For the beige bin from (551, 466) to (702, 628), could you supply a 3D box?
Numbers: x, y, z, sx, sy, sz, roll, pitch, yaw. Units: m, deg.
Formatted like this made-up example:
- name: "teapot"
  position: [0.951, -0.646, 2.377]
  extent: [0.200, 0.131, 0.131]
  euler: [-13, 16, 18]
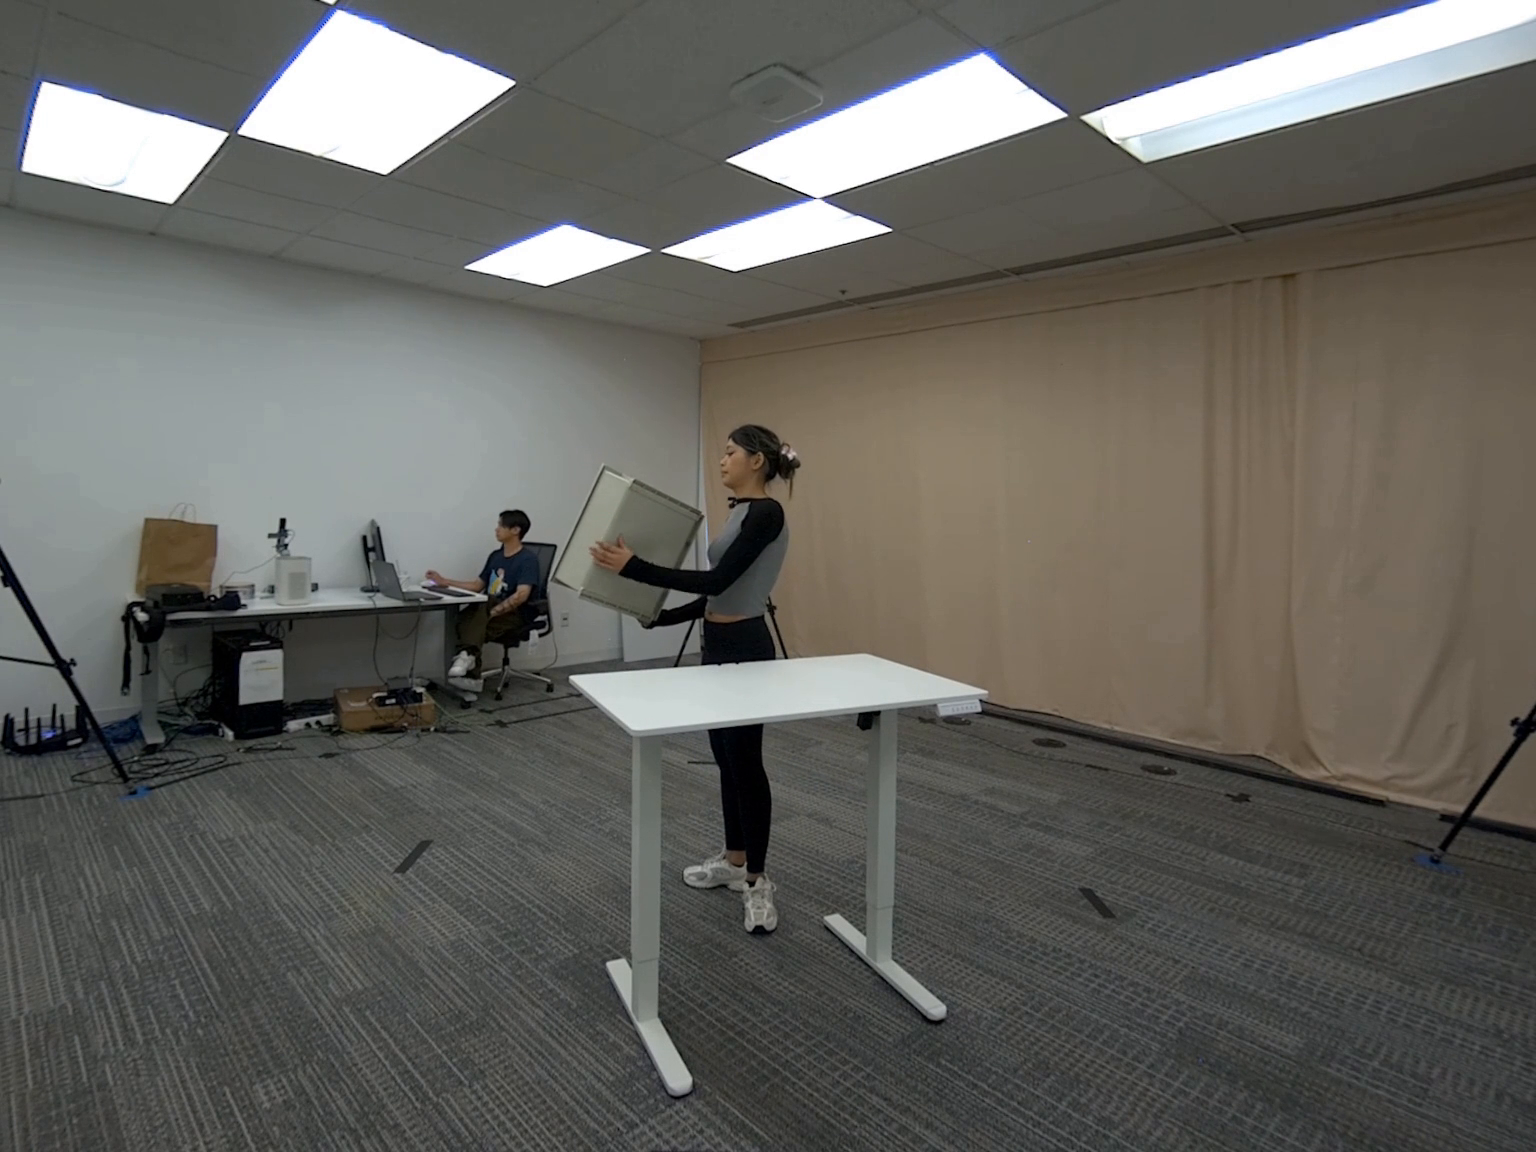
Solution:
- name: "beige bin"
  position: [-0.458, -0.092, 2.813]
  extent: [0.195, 0.422, 0.366]
  euler: [25, -1, 44]
